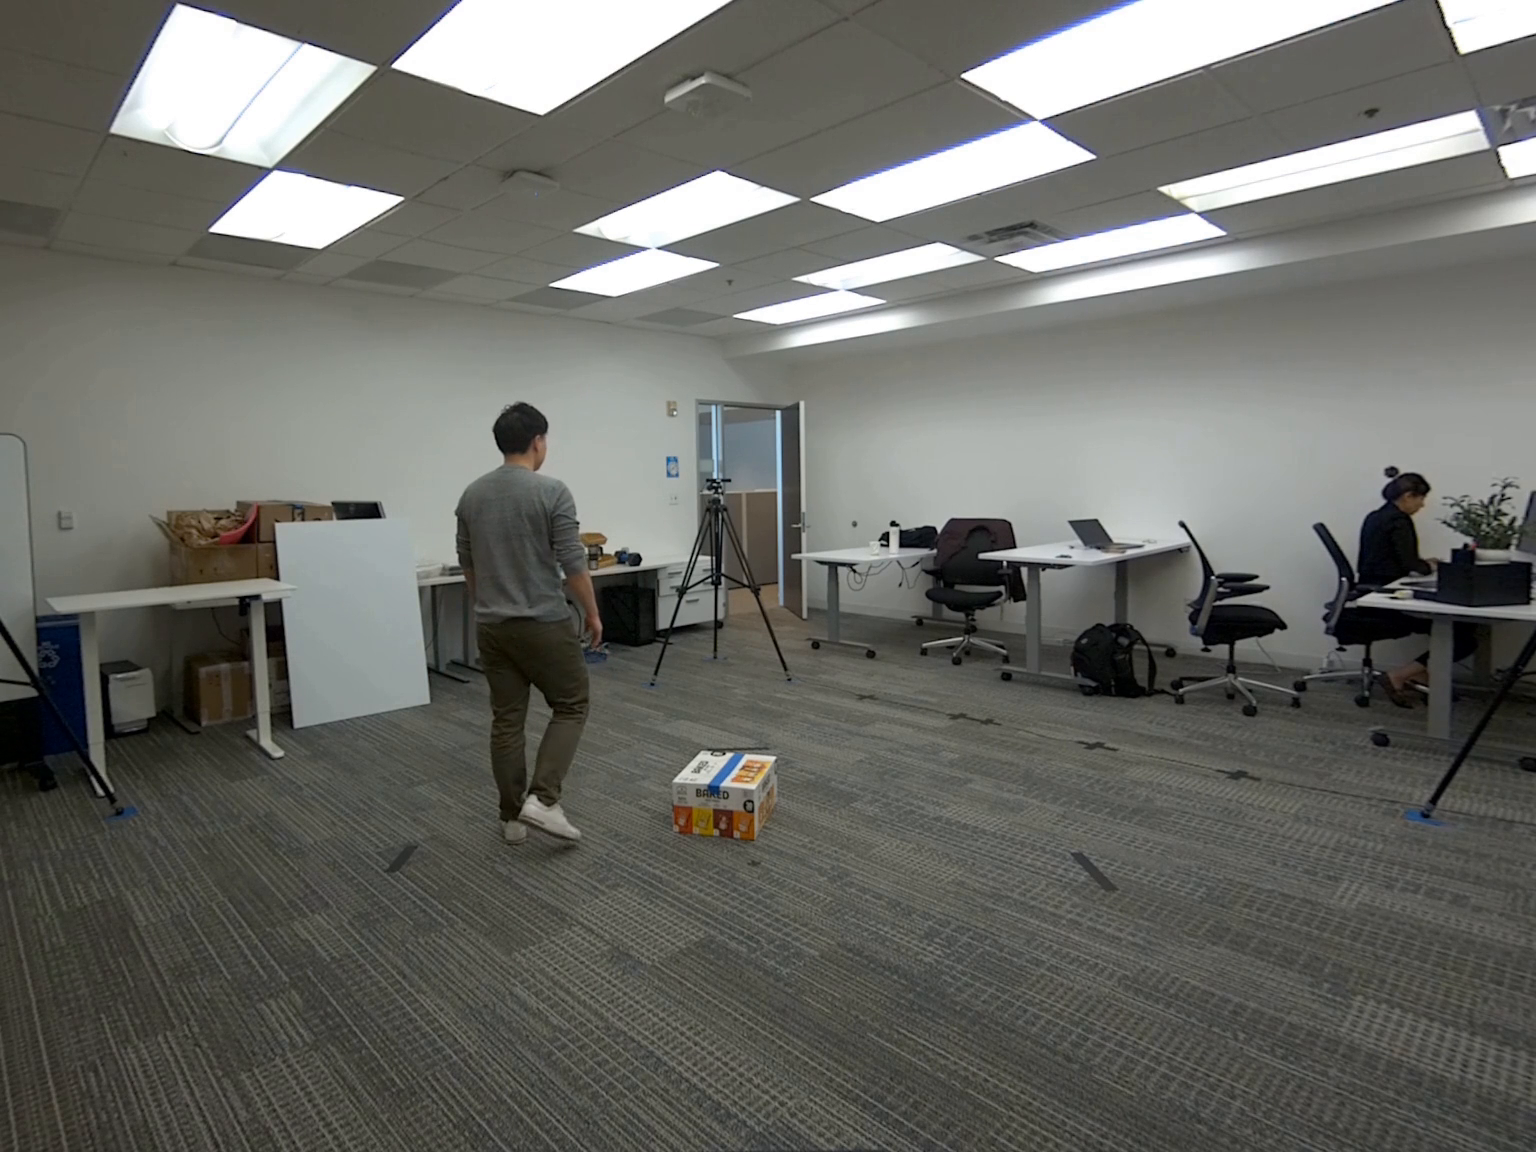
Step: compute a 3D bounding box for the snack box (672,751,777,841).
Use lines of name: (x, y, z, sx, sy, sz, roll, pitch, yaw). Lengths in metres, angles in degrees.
snack box: (-0.173, 0.900, 3.540, 0.345, 0.205, 0.401, 1, 6, 14)
